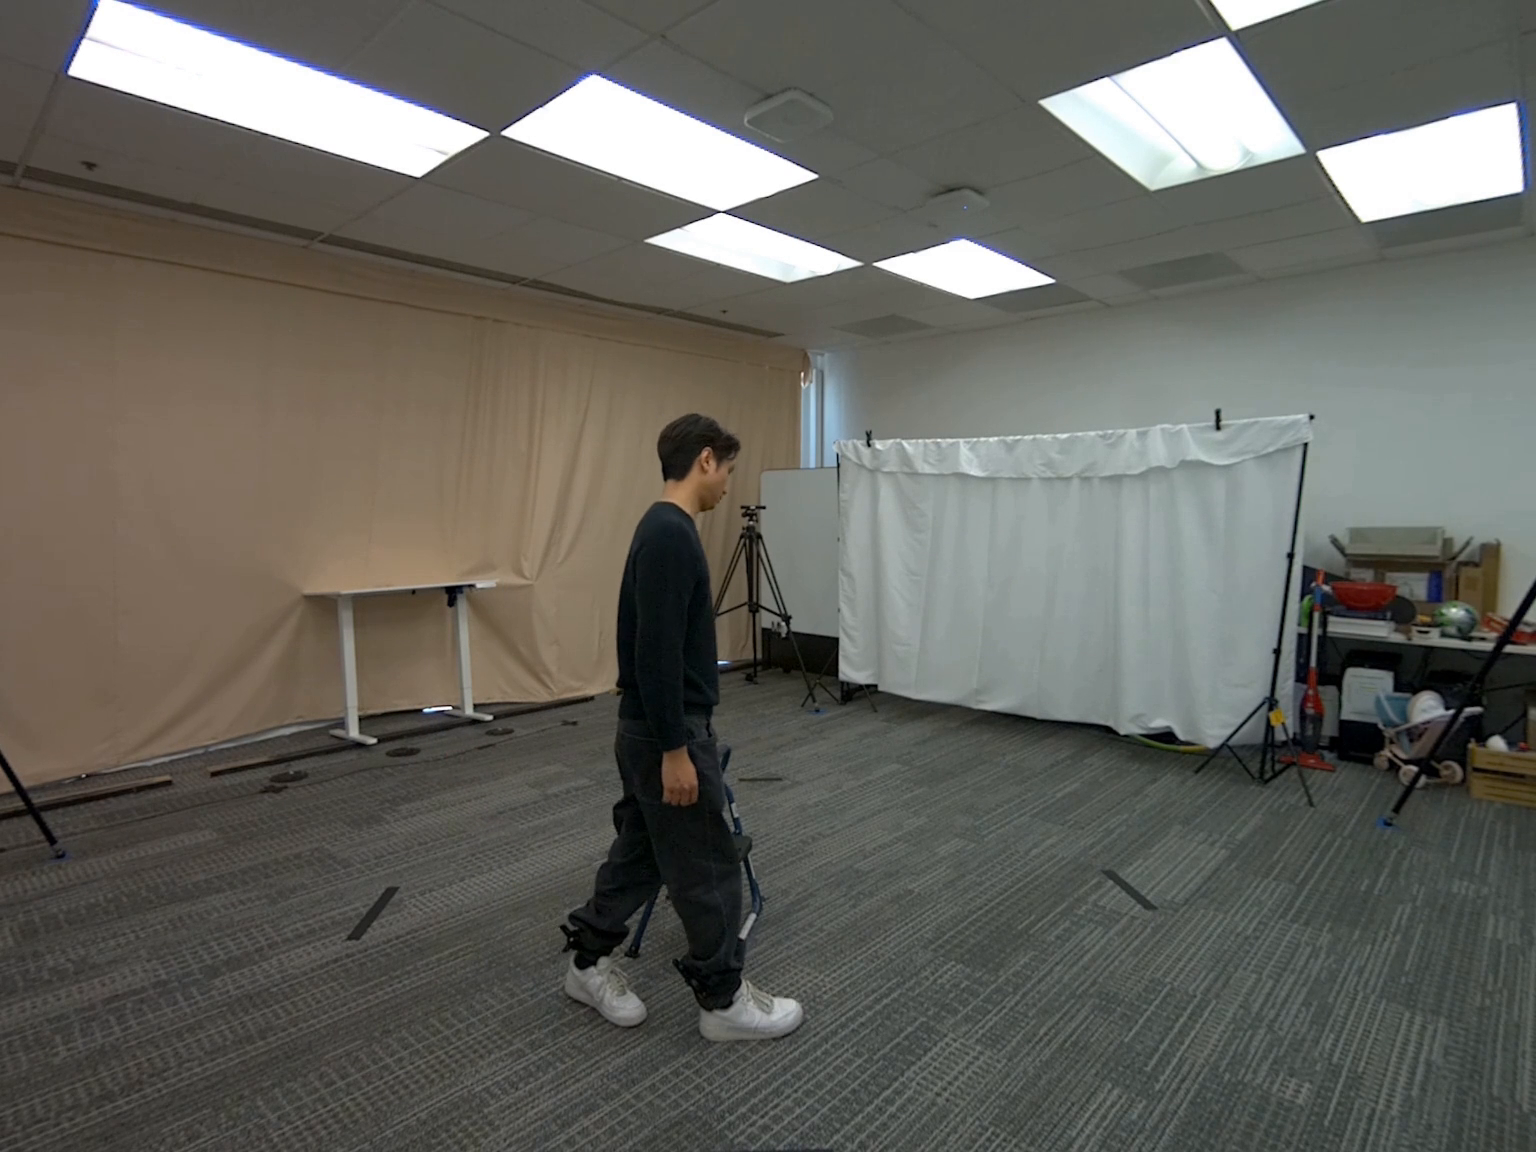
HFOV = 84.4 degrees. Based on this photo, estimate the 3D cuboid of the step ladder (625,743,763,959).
[{"bbox_3d":[-0.231,0.862,2.748,0.355,0.605,0.425,0,4,13],"label":"step ladder"}]
